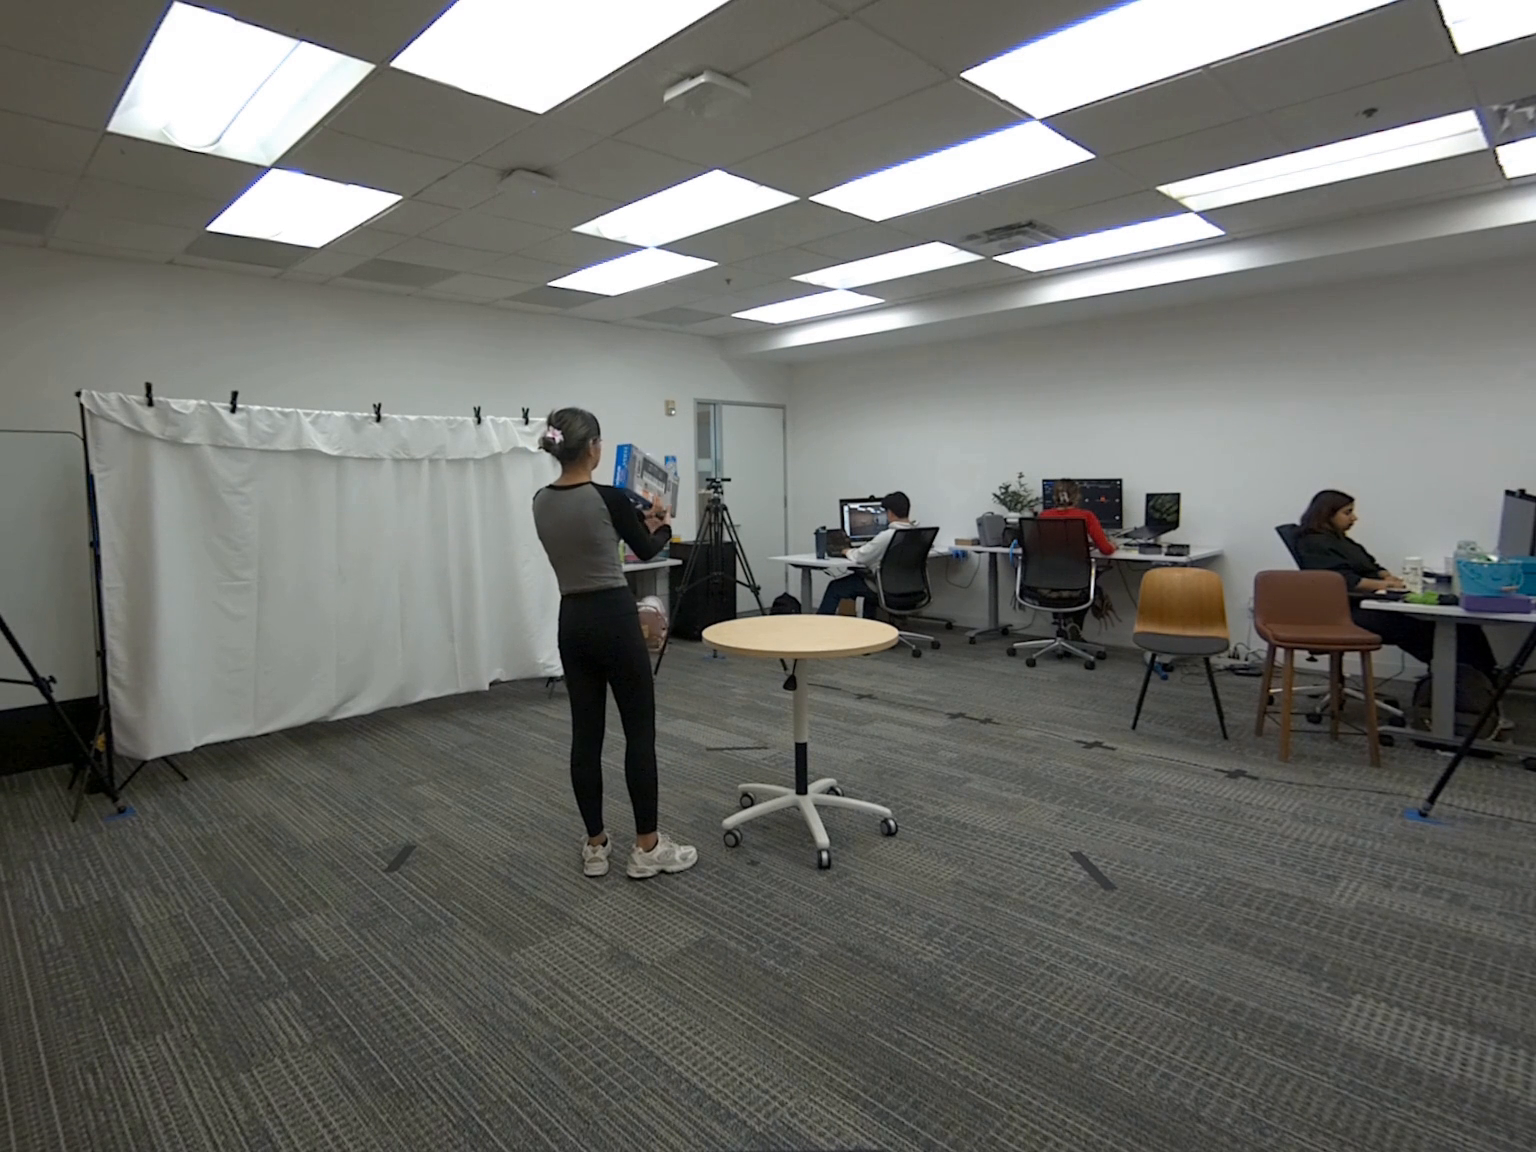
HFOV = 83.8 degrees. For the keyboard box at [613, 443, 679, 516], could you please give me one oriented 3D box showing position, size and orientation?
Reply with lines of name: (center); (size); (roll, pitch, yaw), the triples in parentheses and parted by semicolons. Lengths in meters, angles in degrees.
keyboard box: (-0.468, -0.362, 3.337); (0.060, 0.178, 0.424); (-2, -12, 18)
